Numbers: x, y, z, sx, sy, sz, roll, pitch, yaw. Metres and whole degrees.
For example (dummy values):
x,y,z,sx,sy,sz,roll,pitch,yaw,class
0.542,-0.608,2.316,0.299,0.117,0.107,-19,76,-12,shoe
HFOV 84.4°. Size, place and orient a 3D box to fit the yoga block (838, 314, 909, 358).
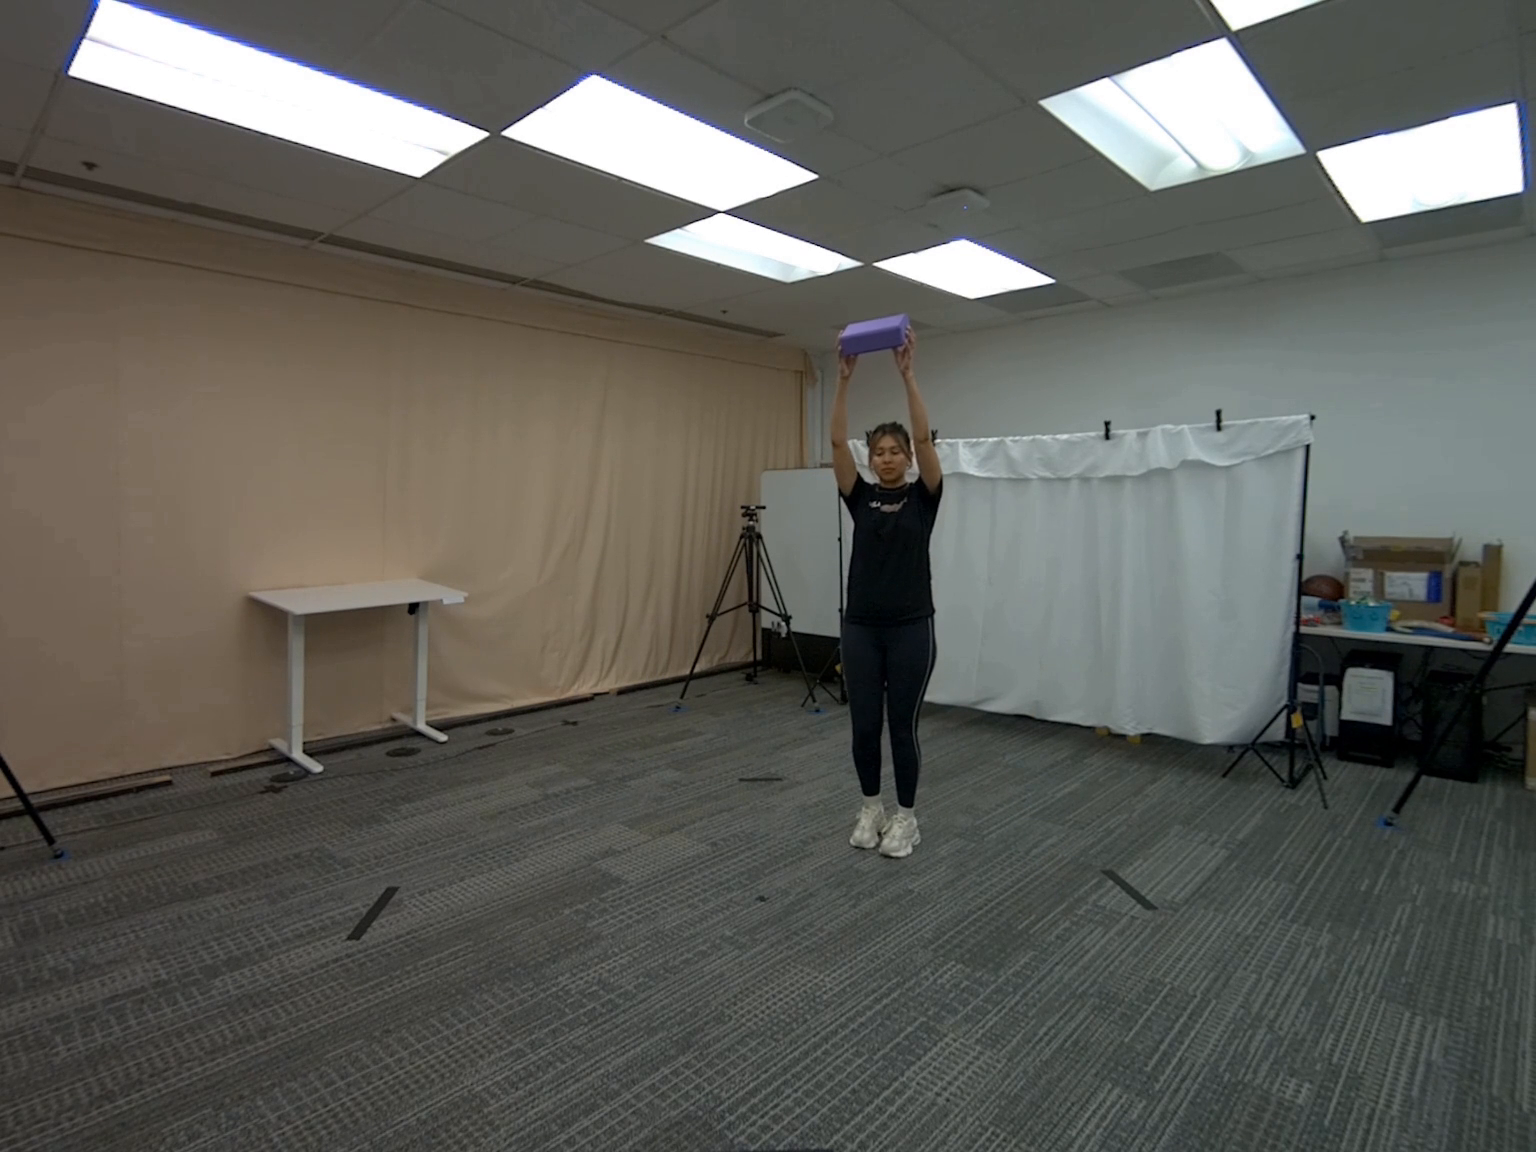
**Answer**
x,y,z,sx,sy,sz,roll,pitch,yaw,class
0.393,-0.872,3.048,0.235,0.074,0.149,-4,32,26,yoga block
